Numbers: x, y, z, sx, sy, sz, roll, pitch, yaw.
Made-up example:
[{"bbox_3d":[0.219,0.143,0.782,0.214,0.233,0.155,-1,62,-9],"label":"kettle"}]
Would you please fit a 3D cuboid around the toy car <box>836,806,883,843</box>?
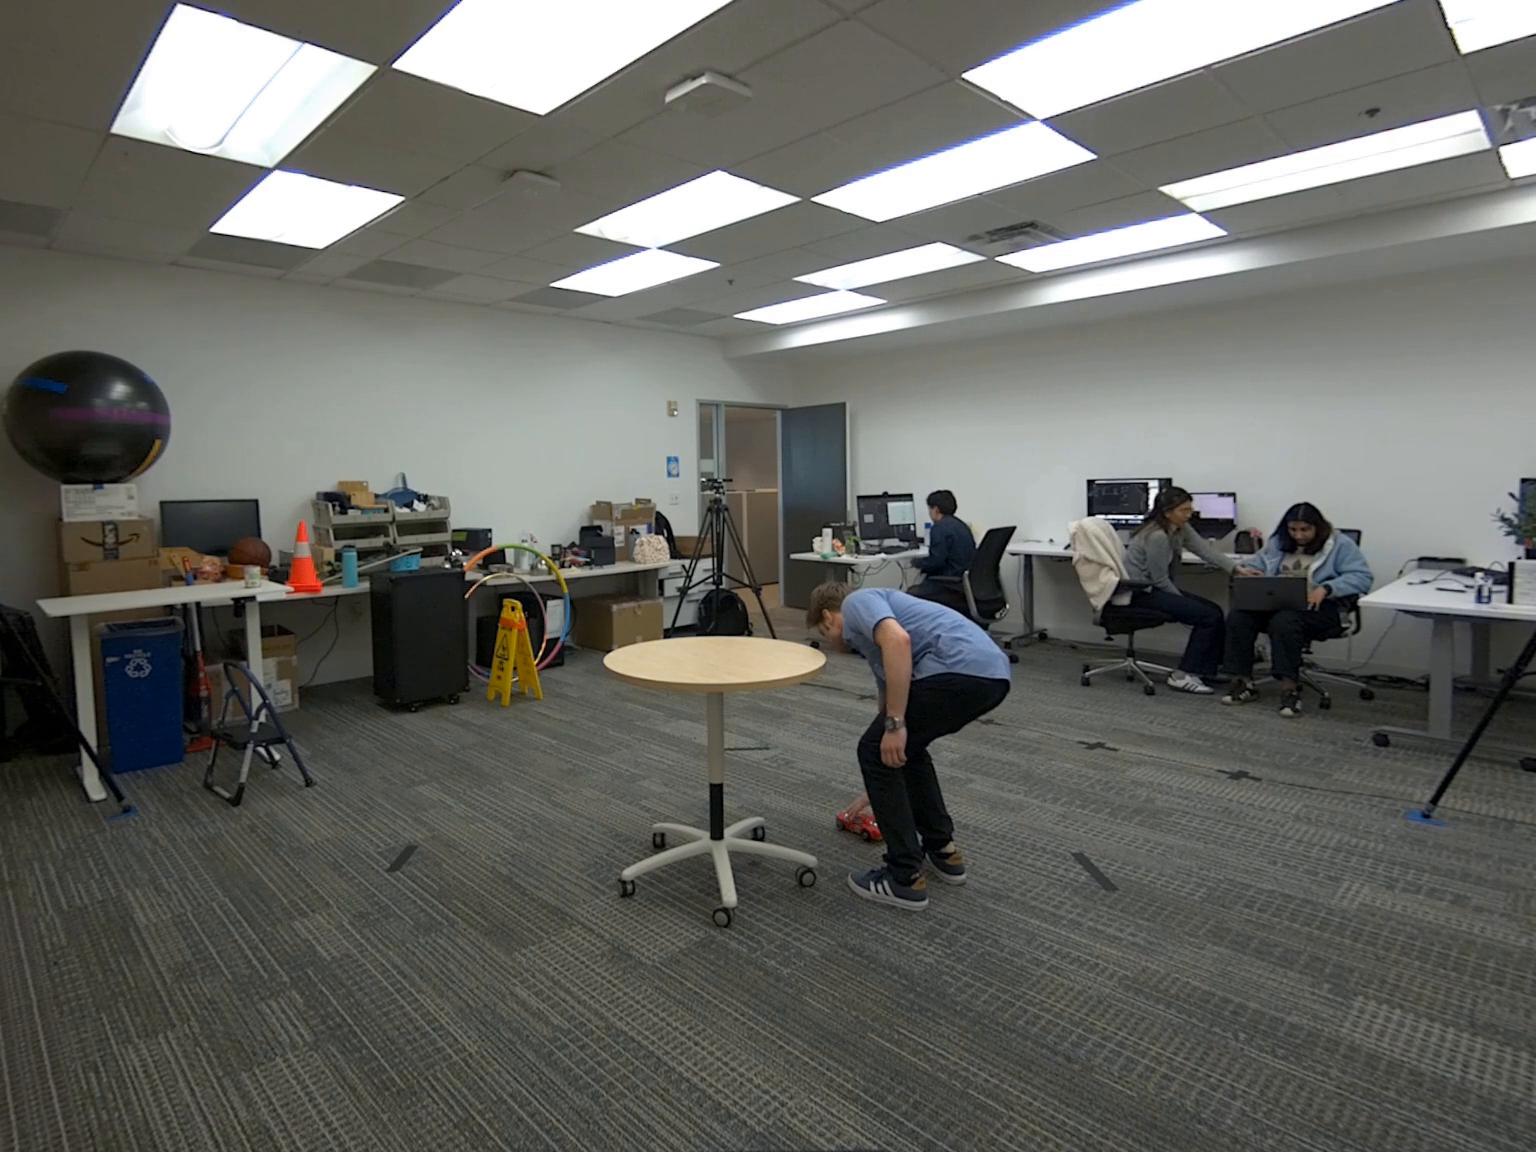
[{"bbox_3d":[0.389,0.979,3.344,0.127,0.083,0.260,-4,-4,-37],"label":"toy car"}]
